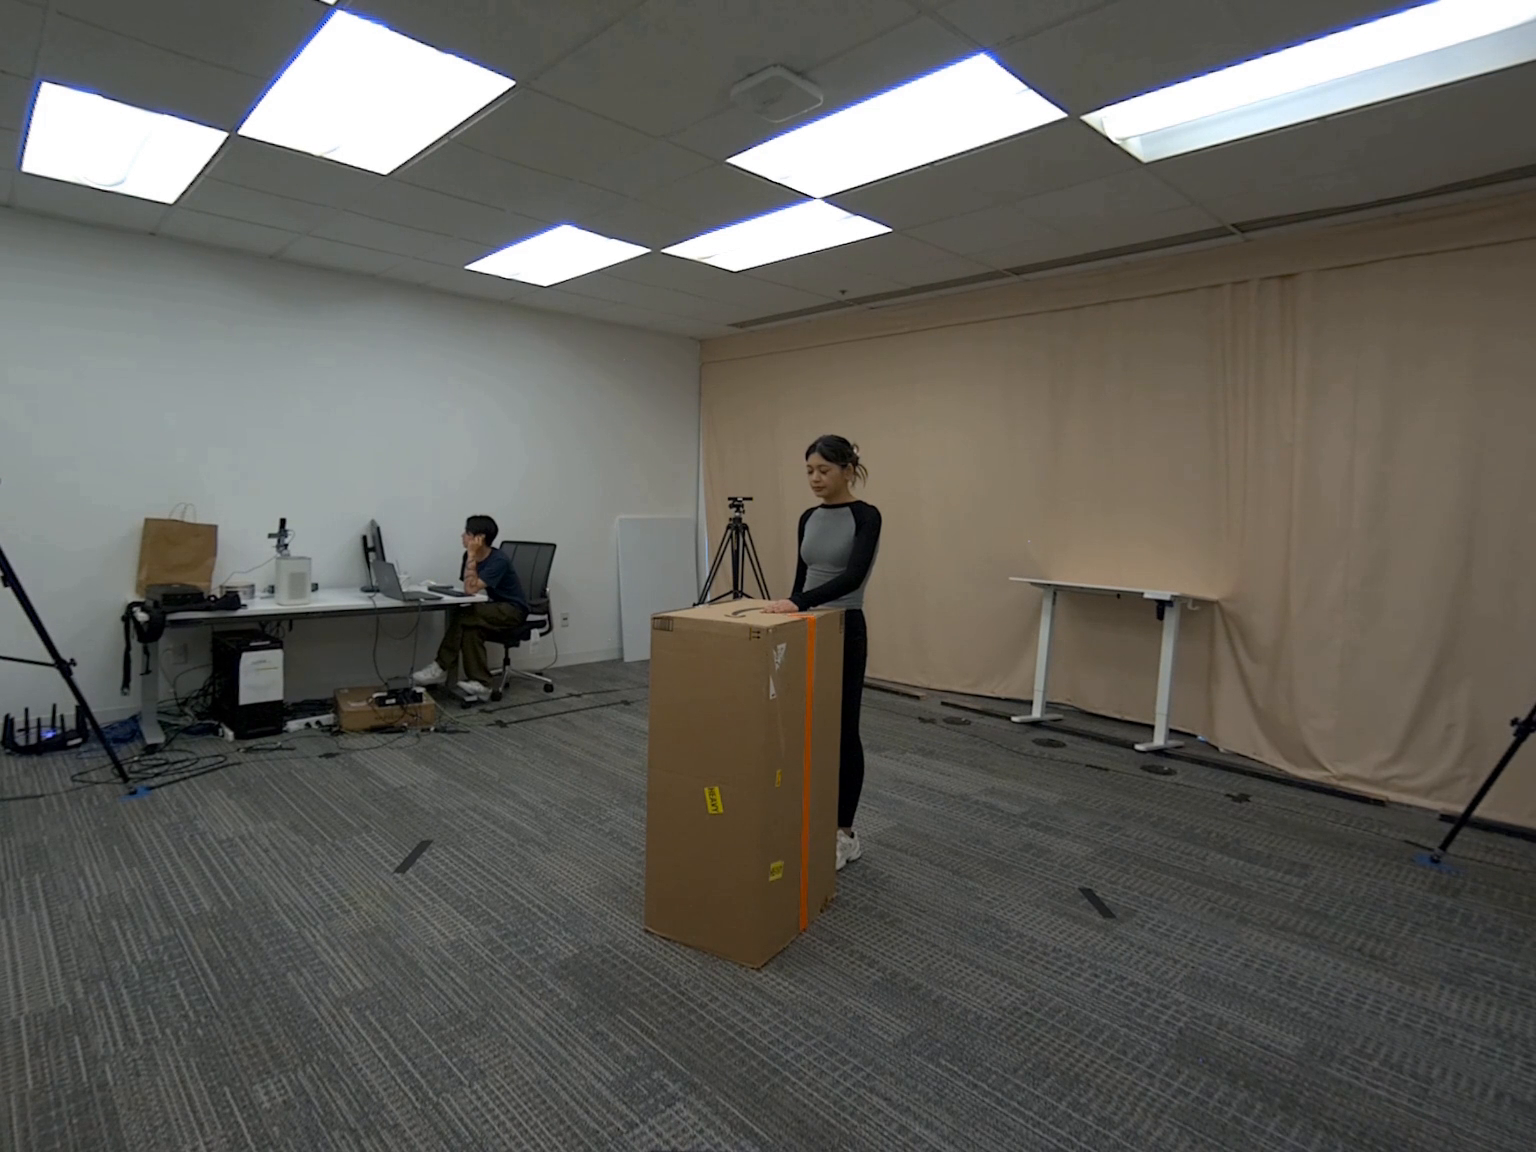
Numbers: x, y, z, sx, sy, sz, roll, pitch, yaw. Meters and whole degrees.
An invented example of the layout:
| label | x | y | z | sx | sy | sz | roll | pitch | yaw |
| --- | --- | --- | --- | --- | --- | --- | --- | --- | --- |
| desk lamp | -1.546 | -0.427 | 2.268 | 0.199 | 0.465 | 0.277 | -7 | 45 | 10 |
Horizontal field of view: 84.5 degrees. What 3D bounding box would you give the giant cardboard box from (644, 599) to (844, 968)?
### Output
| label | x | y | z | sx | sy | sz | roll | pitch | yaw |
| --- | --- | --- | --- | --- | --- | --- | --- | --- | --- |
| giant cardboard box | -0.070 | 0.632 | 2.804 | 0.456 | 1.025 | 0.573 | 2 | 3 | 29 |
